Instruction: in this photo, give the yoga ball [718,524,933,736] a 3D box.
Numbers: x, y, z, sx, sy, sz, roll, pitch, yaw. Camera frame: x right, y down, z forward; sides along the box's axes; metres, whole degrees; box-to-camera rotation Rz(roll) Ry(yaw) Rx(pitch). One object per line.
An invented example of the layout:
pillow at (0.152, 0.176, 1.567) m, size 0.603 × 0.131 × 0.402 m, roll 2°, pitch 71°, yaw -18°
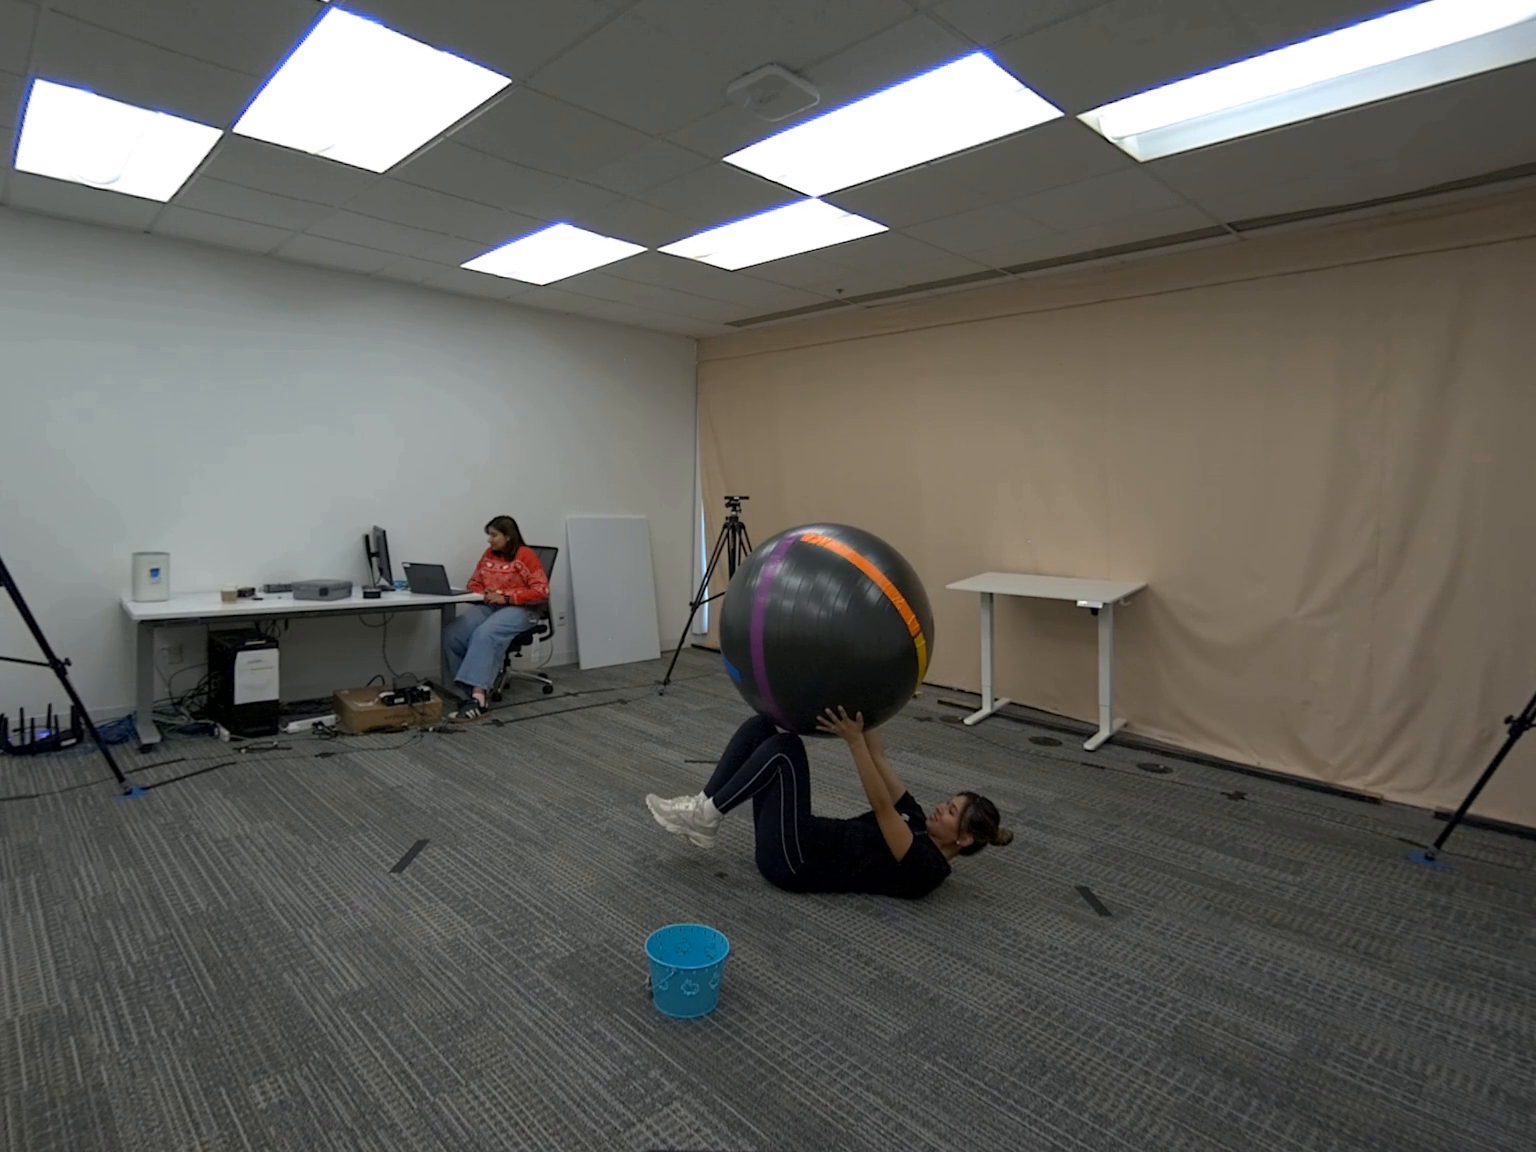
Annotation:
yoga ball at (0.203, 0.196, 2.984) m, size 0.757 × 0.756 × 0.761 m, roll 1°, pitch 4°, yaw -1°
